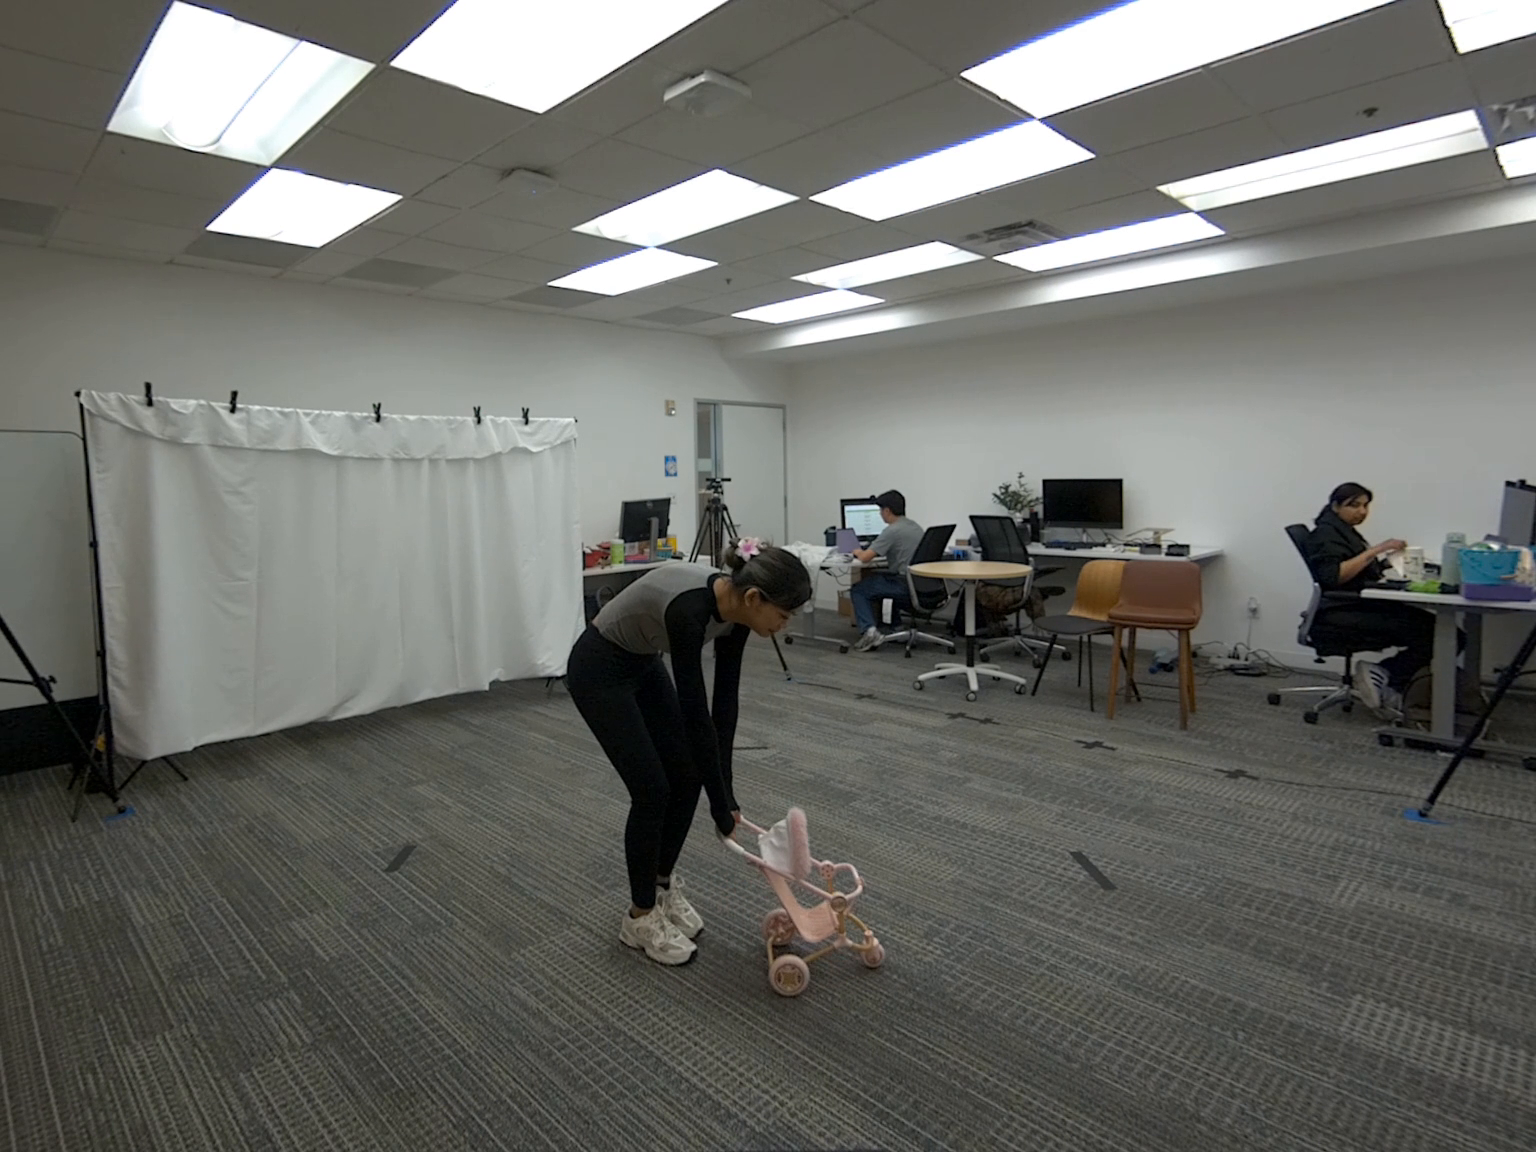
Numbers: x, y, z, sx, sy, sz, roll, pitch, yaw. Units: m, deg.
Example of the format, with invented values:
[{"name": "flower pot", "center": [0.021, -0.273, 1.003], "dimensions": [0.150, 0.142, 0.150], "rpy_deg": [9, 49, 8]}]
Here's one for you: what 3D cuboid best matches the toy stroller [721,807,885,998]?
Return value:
[{"name": "toy stroller", "center": [0.109, 0.893, 2.418], "dimensions": [0.342, 0.533, 0.282], "rpy_deg": [-16, 4, 3]}]
